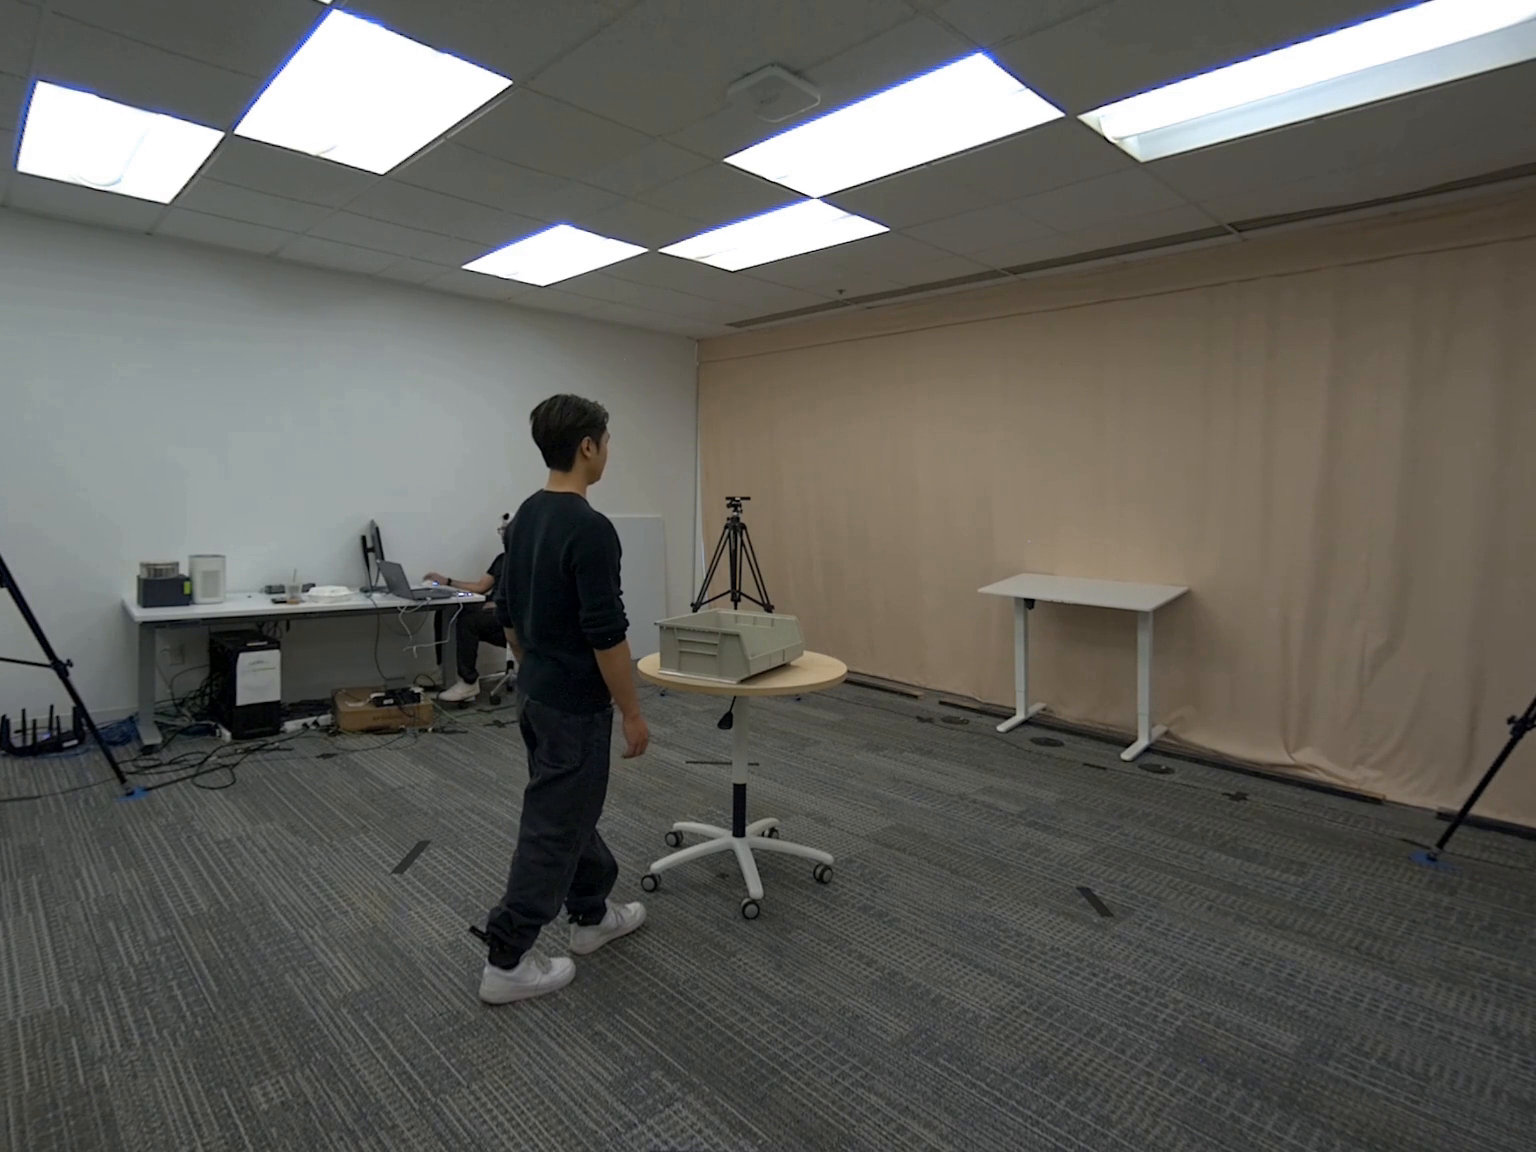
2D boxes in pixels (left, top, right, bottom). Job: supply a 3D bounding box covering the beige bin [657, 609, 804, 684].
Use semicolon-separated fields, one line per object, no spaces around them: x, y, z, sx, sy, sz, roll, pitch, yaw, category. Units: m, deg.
-0.140;0.243;2.989;0.385;0.188;0.415;2;6;29;beige bin
